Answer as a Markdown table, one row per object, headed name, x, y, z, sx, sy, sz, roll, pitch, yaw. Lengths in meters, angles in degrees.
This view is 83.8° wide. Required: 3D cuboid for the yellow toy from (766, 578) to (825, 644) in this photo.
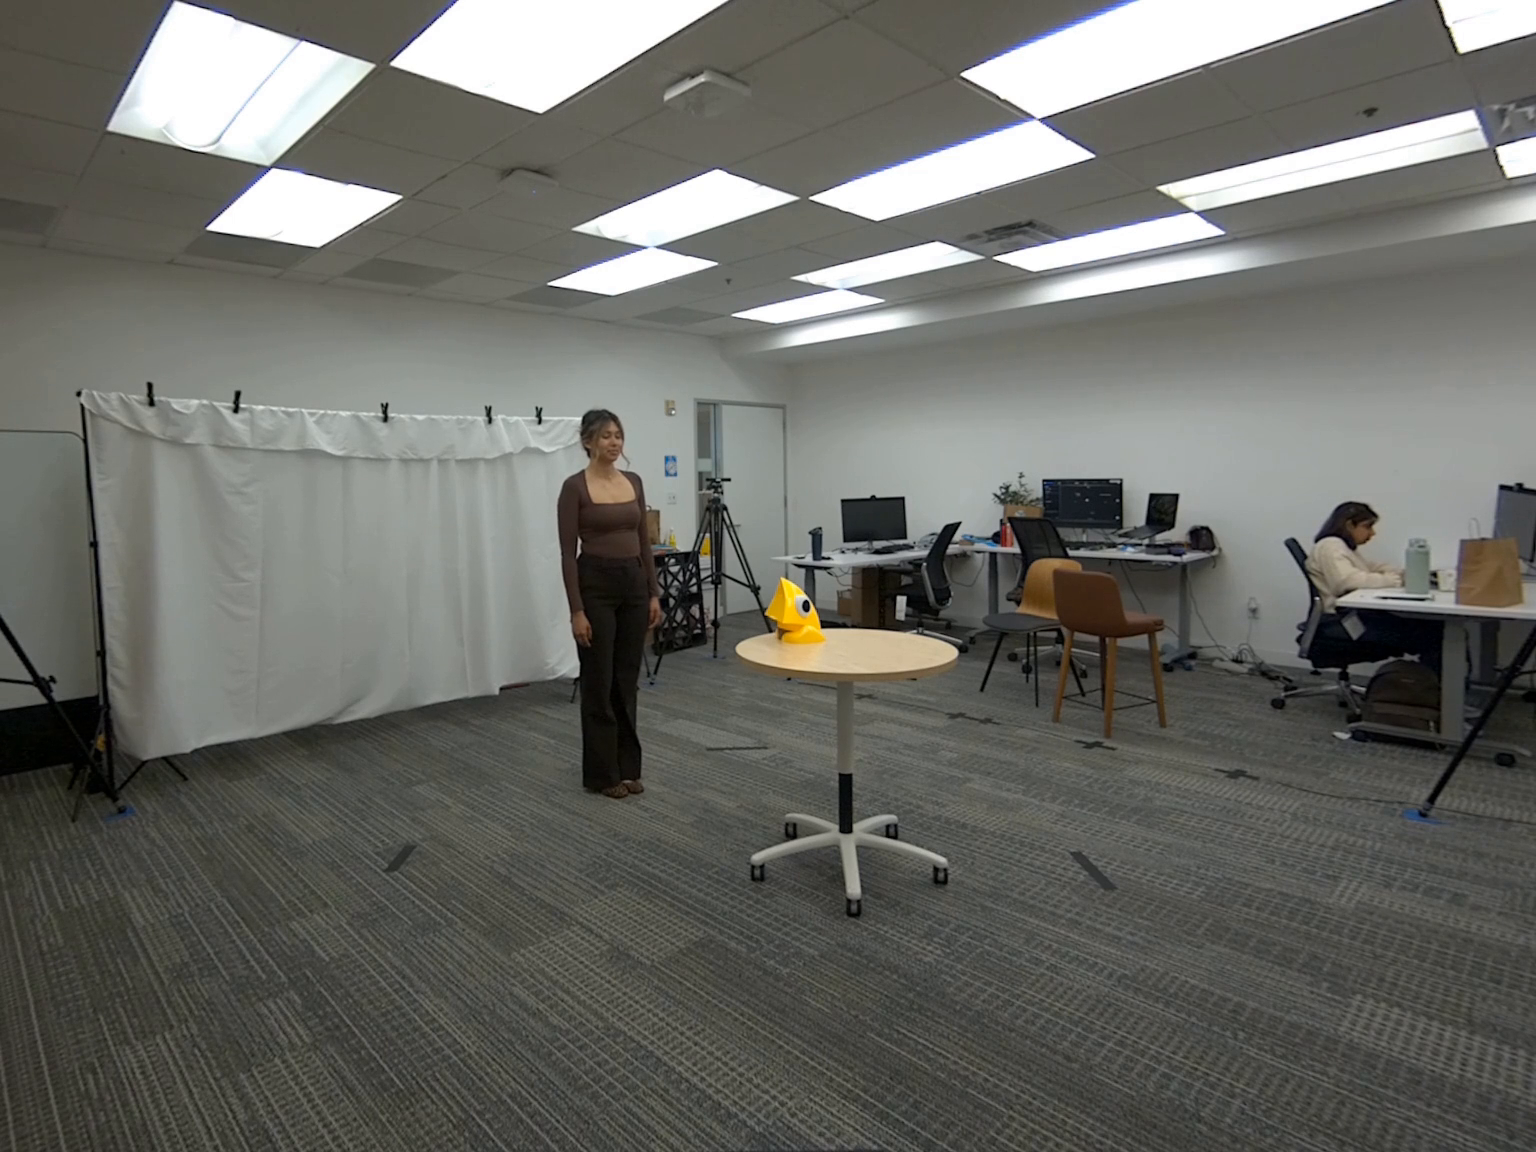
| name | x | y | z | sx | sy | sz | roll | pitch | yaw |
| --- | --- | --- | --- | --- | --- | --- | --- | --- | --- |
| yellow toy | 0.110 | 0.119 | 3.171 | 0.190 | 0.230 | 0.209 | -2 | 5 | -17 |
